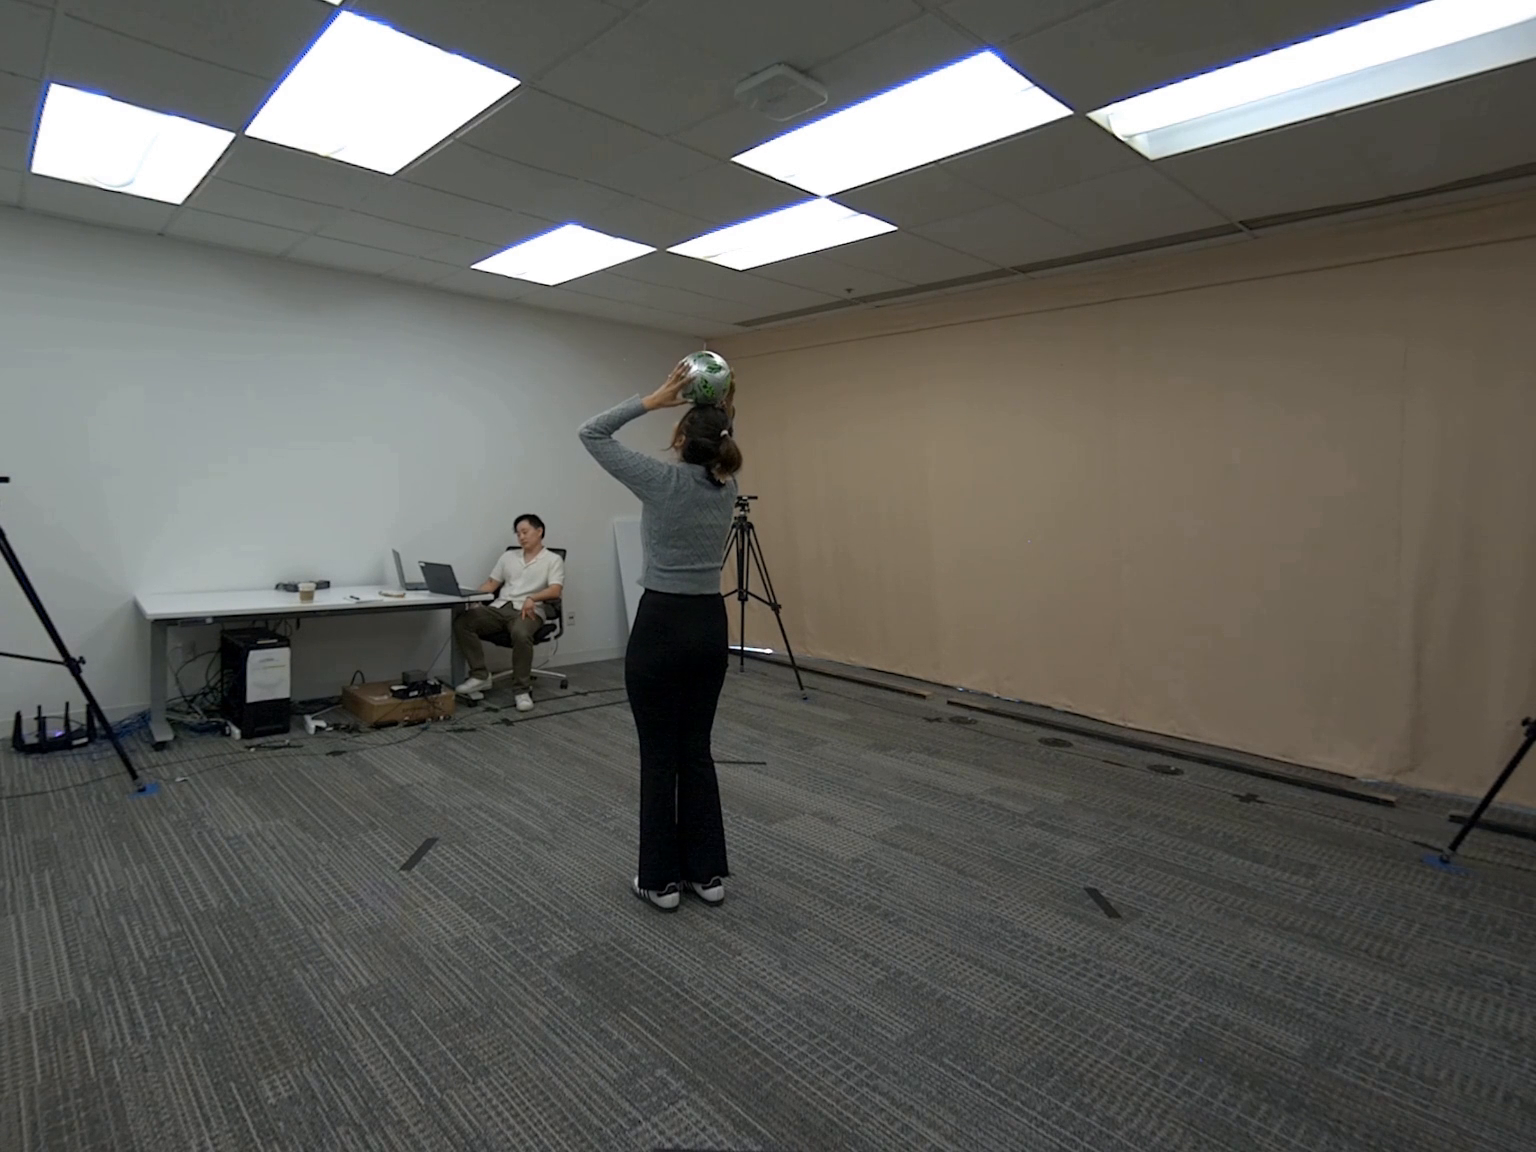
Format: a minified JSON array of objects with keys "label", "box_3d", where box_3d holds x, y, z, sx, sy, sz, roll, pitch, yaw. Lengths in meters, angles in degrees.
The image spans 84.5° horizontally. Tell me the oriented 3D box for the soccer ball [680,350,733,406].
[{"label":"soccer ball","box_3d":[-0.231,-0.660,2.818,0.187,0.187,0.188,1,4,-1]}]
